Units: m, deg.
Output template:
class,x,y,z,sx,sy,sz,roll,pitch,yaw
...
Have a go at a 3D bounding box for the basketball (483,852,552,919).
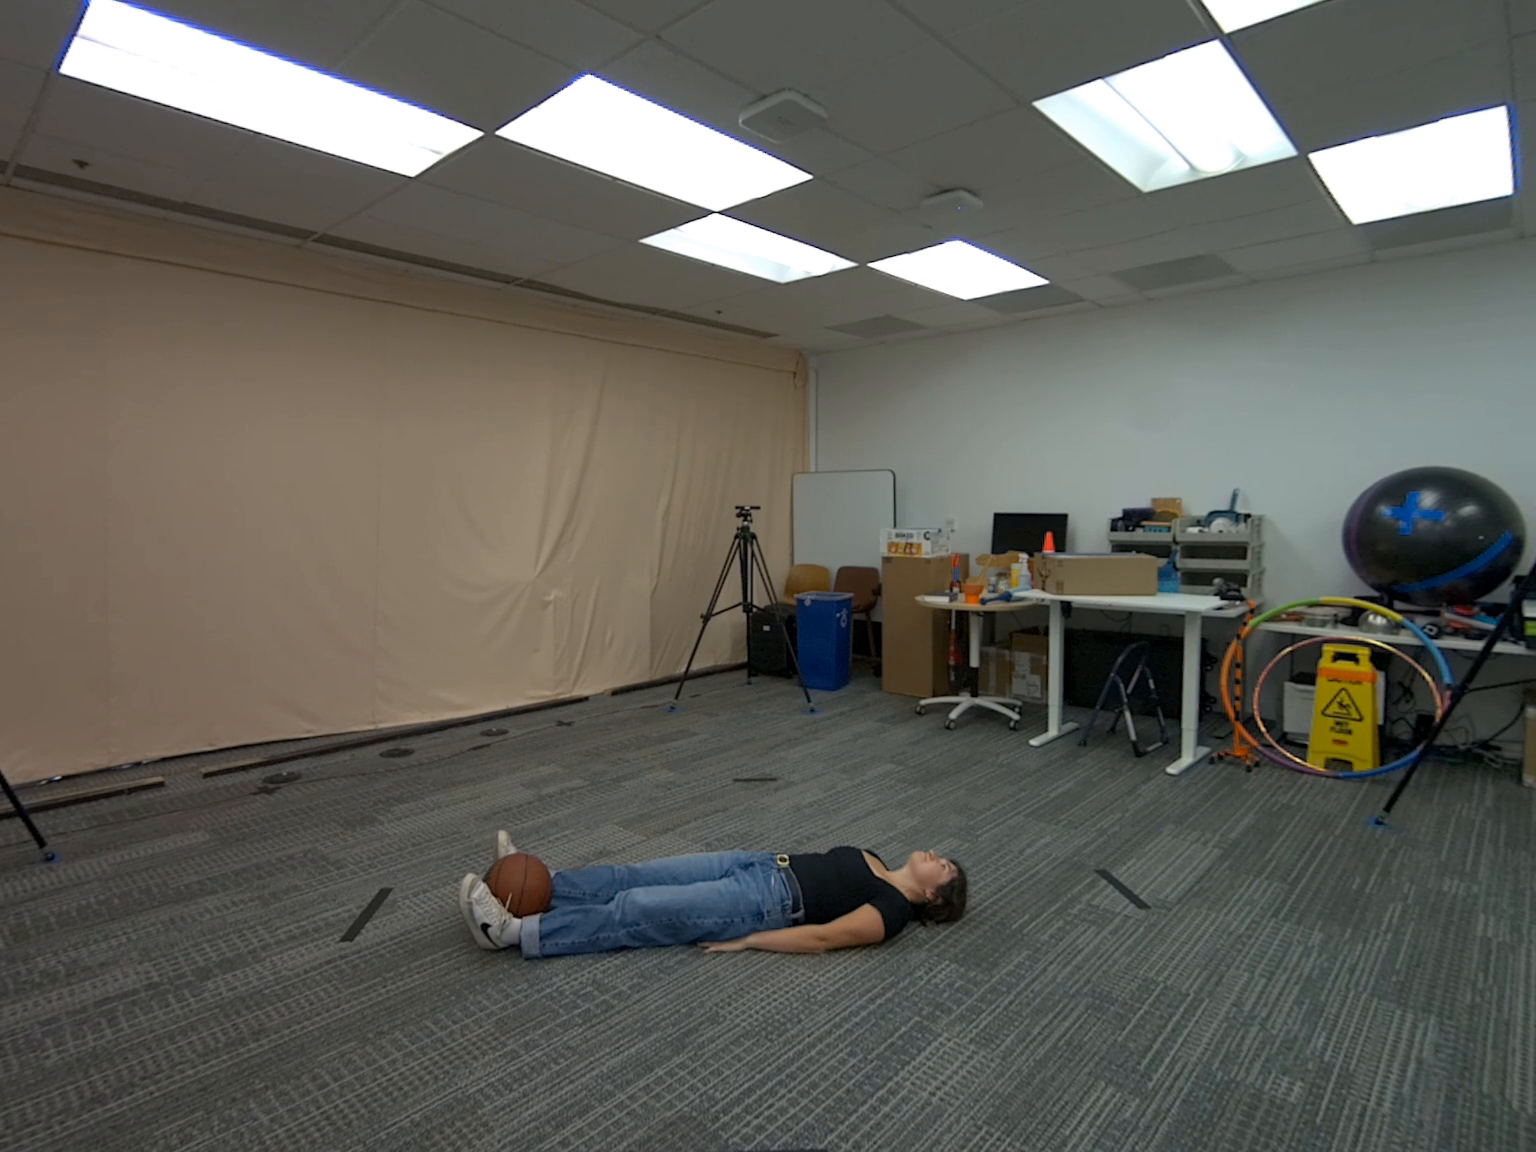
class,x,y,z,sx,sy,sz,roll,pitch,yaw
basketball,-0.832,1.046,2.789,0.236,0.235,0.237,0,4,-2
